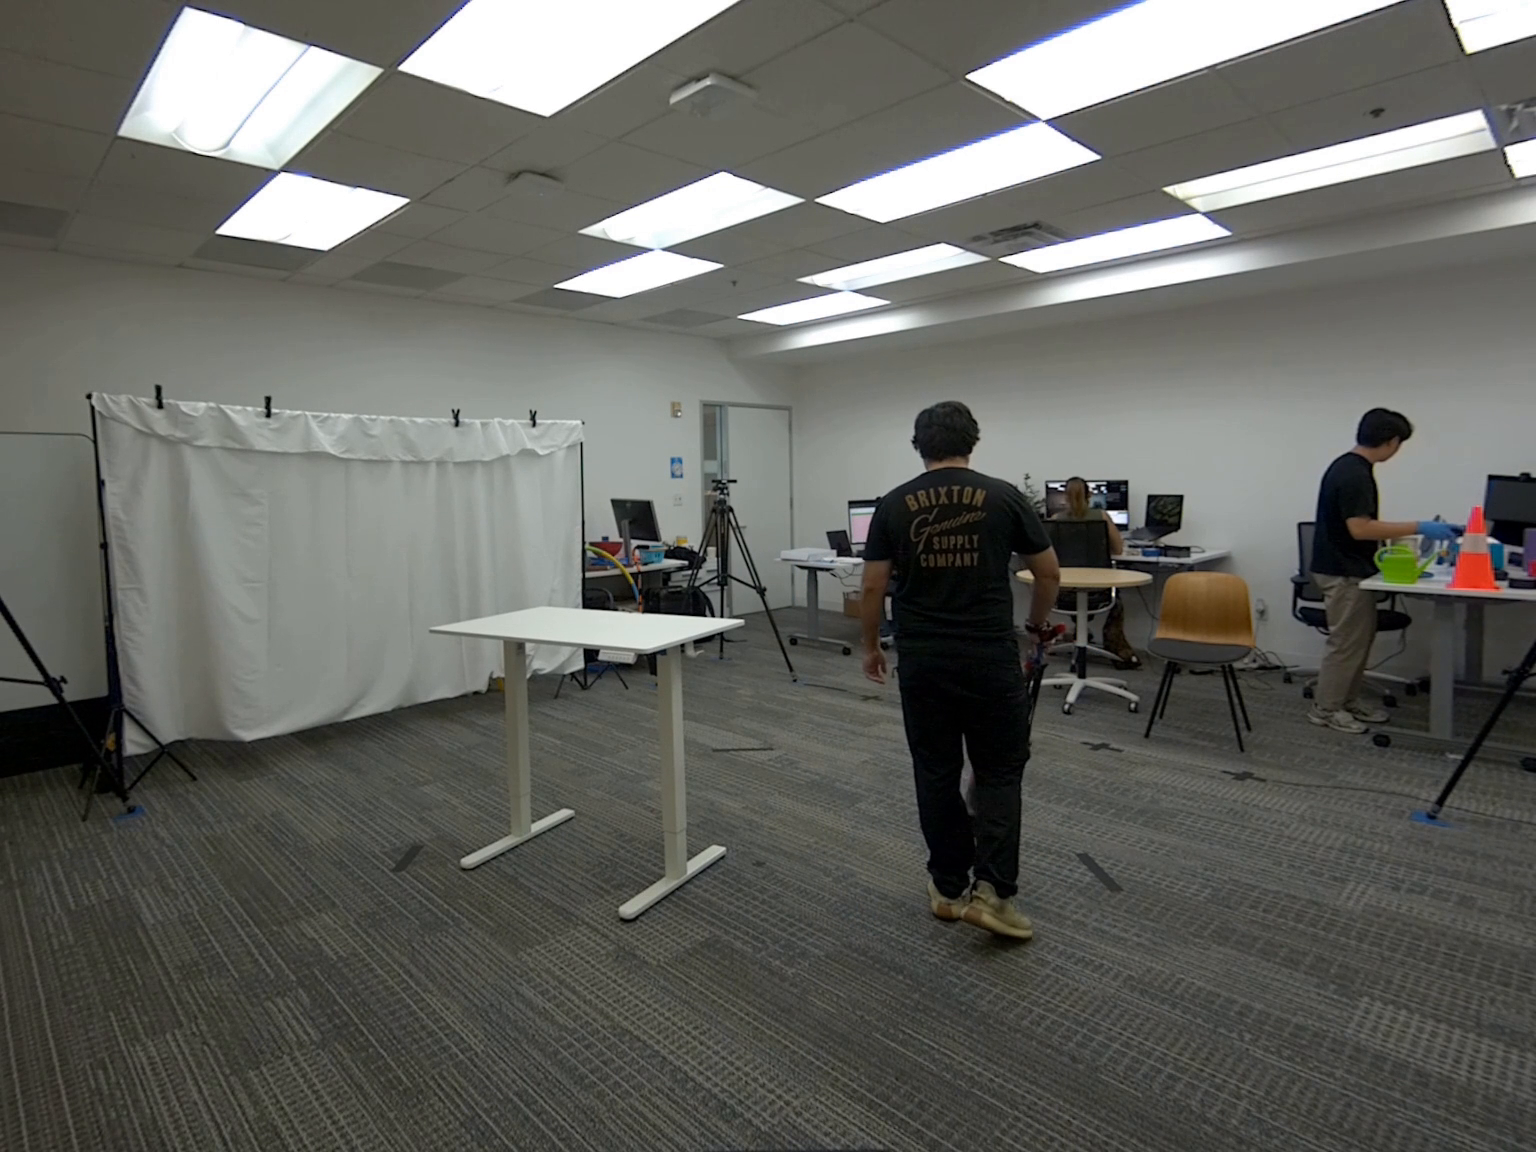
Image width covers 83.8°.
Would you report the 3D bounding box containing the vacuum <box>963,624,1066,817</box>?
[{"bbox_3d":[0.851,0.576,3.071,0.247,1.030,0.149,-4,38,-26],"label":"vacuum"}]
